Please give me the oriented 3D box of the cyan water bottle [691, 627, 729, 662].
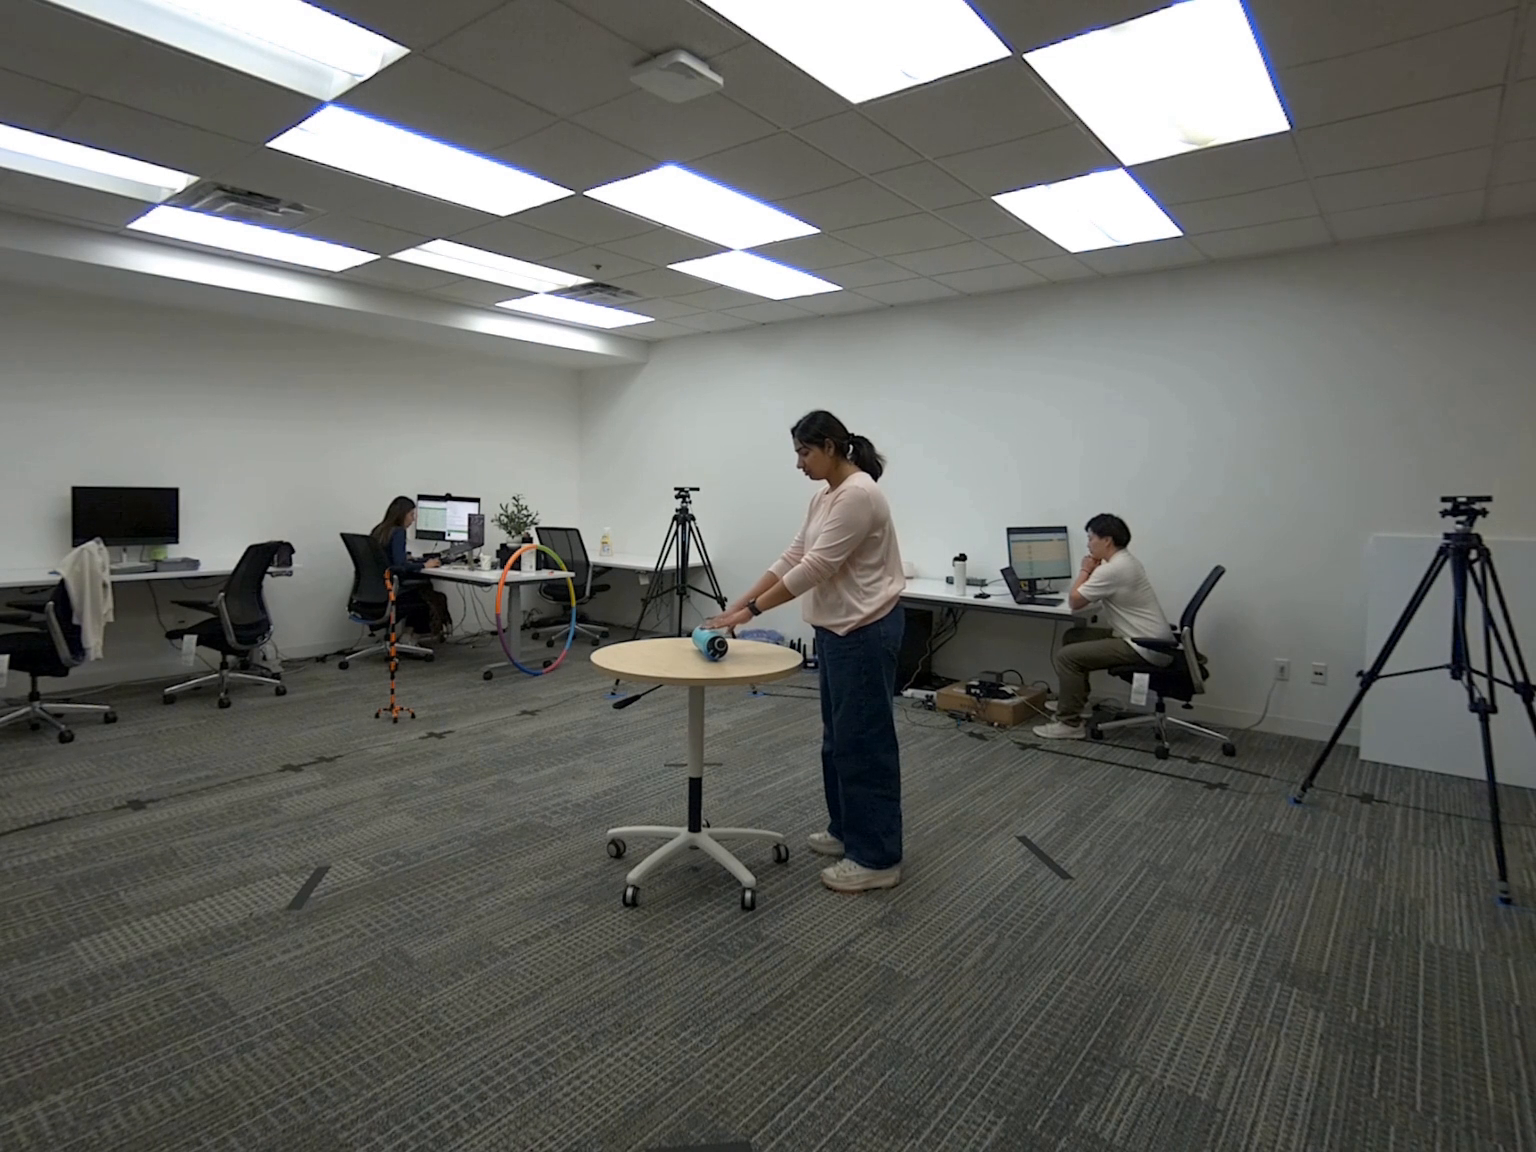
[{"bbox_3d":[-0.218,0.239,3.077,0.091,0.092,0.288,0,5,-14],"label":"cyan water bottle"}]
